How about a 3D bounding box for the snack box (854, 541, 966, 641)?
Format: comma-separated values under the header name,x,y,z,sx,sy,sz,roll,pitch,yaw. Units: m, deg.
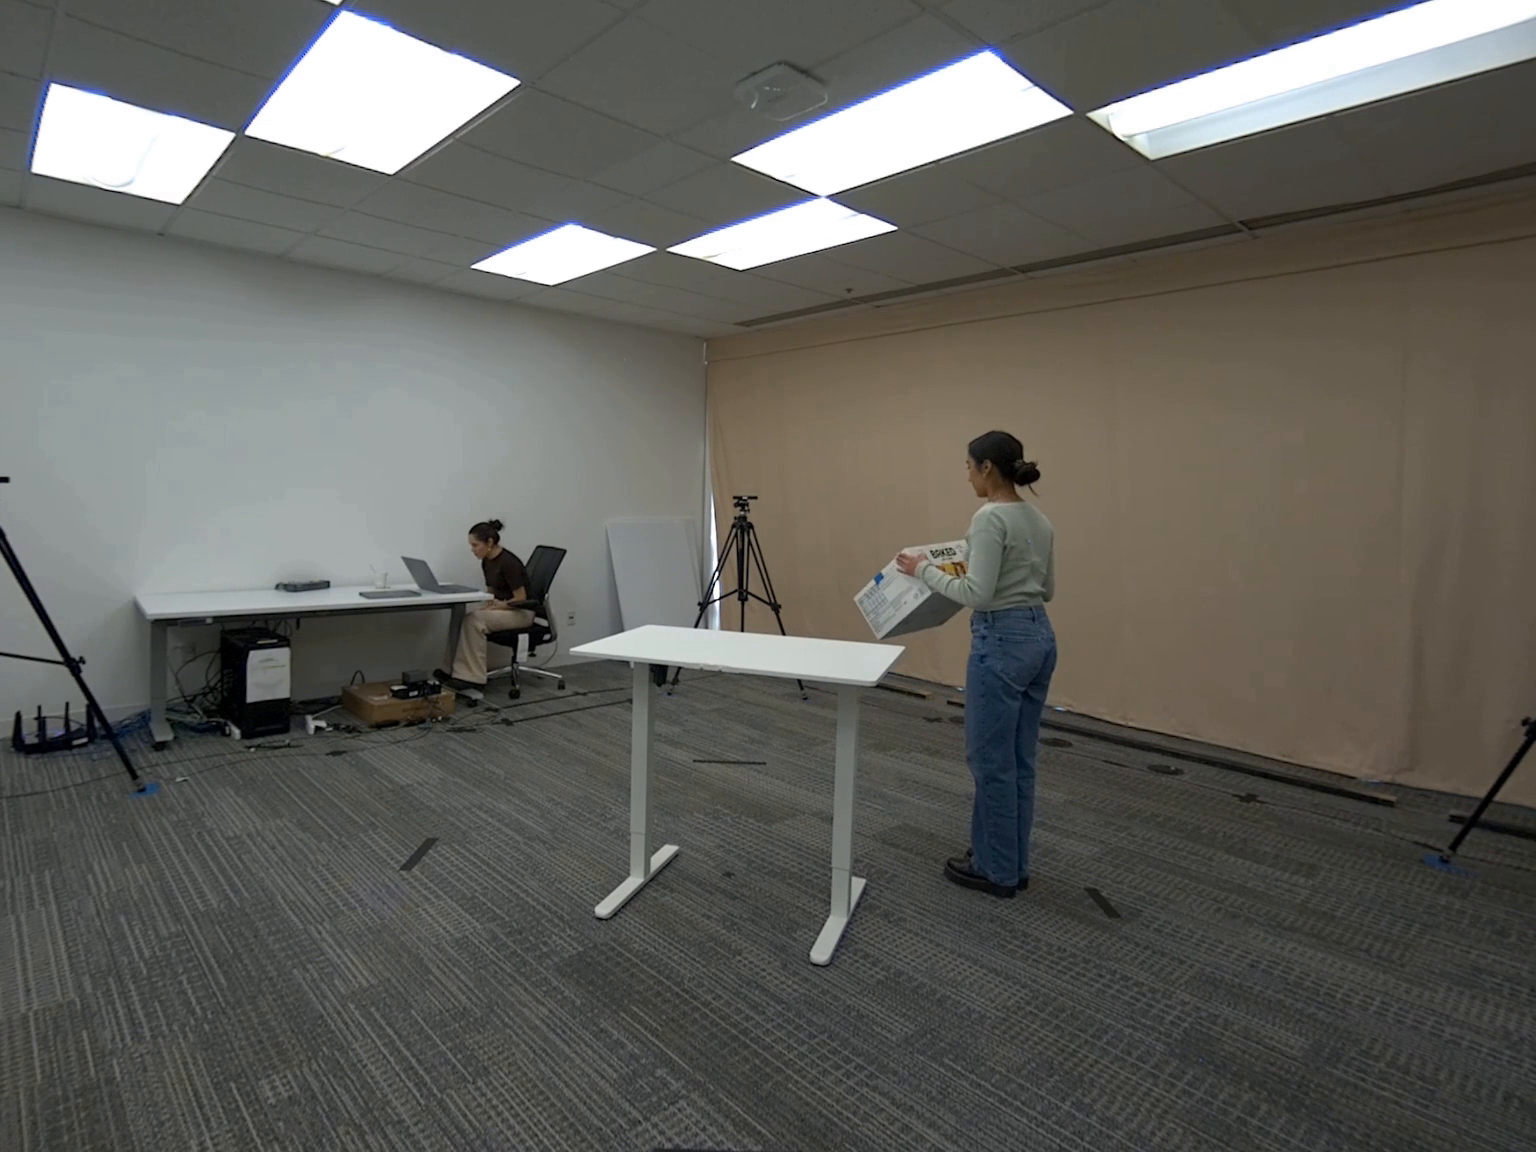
name,x,y,z,sx,sy,sz,roll,pitch,yaw
snack box,0.615,0.057,3.317,0.397,0.210,0.339,-9,-31,-40
